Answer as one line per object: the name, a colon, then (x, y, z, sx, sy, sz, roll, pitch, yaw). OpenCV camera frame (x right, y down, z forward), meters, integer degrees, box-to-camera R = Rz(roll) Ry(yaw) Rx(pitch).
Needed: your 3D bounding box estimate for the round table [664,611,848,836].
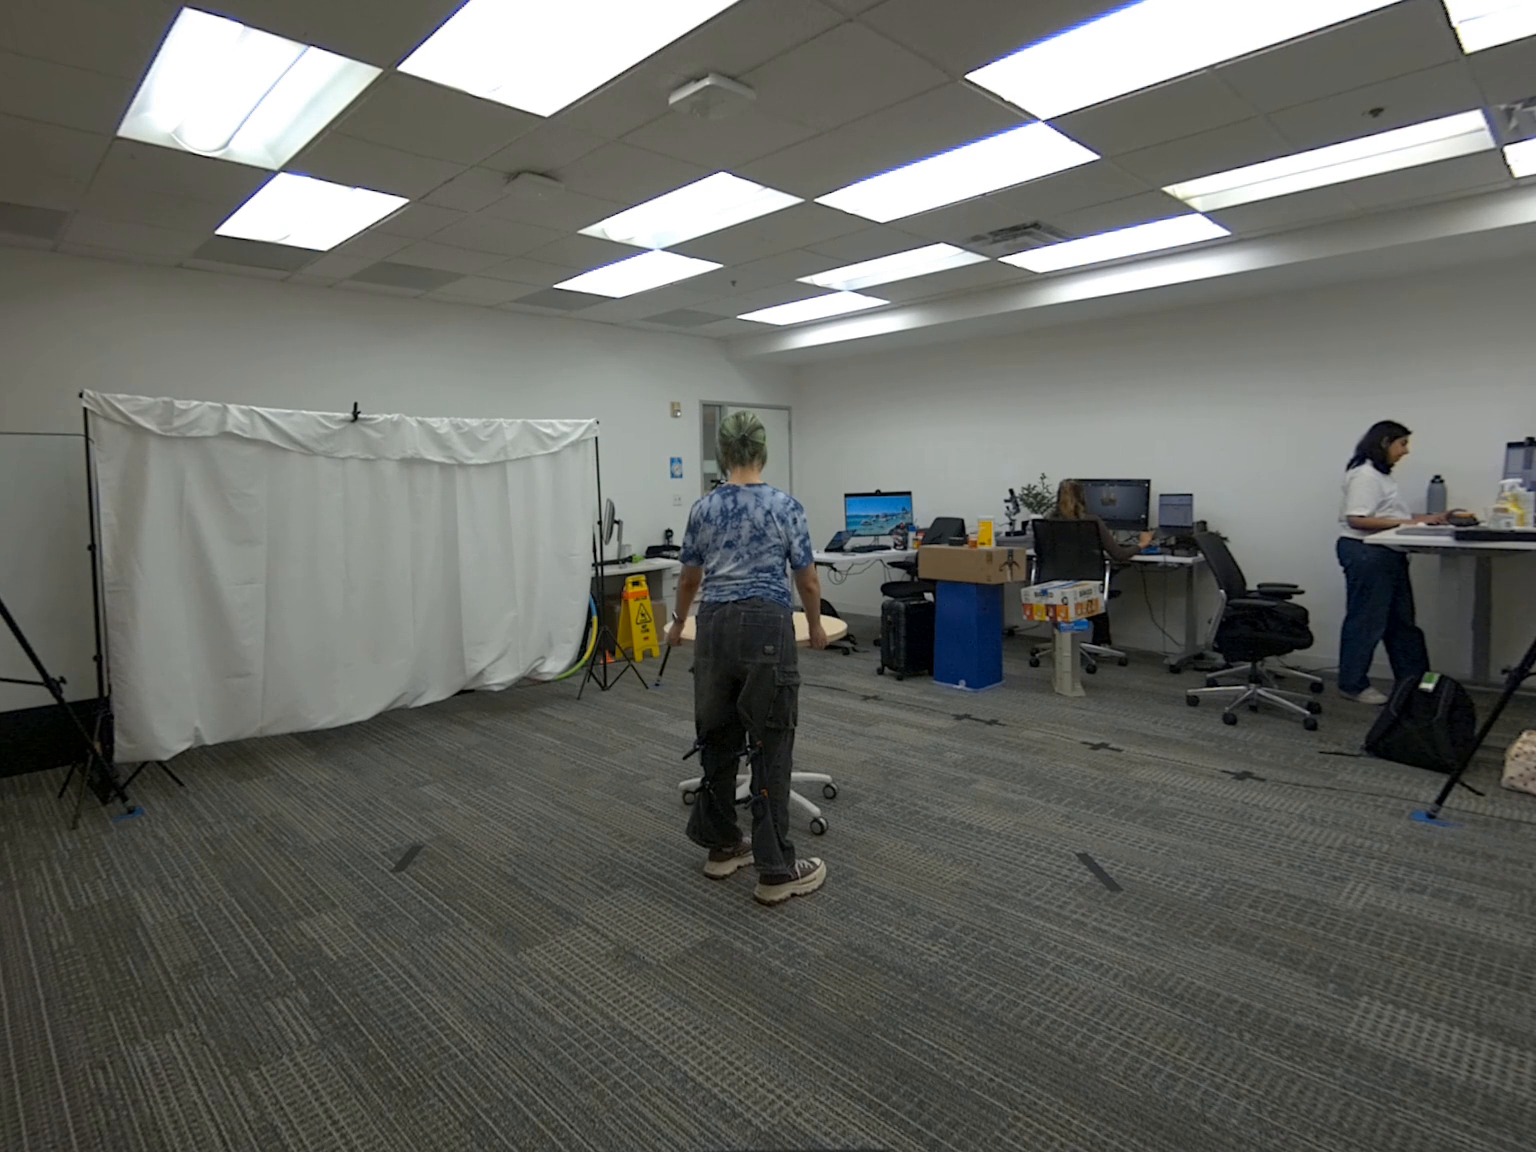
round table: (-0.040, 0.603, 3.598, 0.763, 0.791, 0.768, -1, 5, -2)
